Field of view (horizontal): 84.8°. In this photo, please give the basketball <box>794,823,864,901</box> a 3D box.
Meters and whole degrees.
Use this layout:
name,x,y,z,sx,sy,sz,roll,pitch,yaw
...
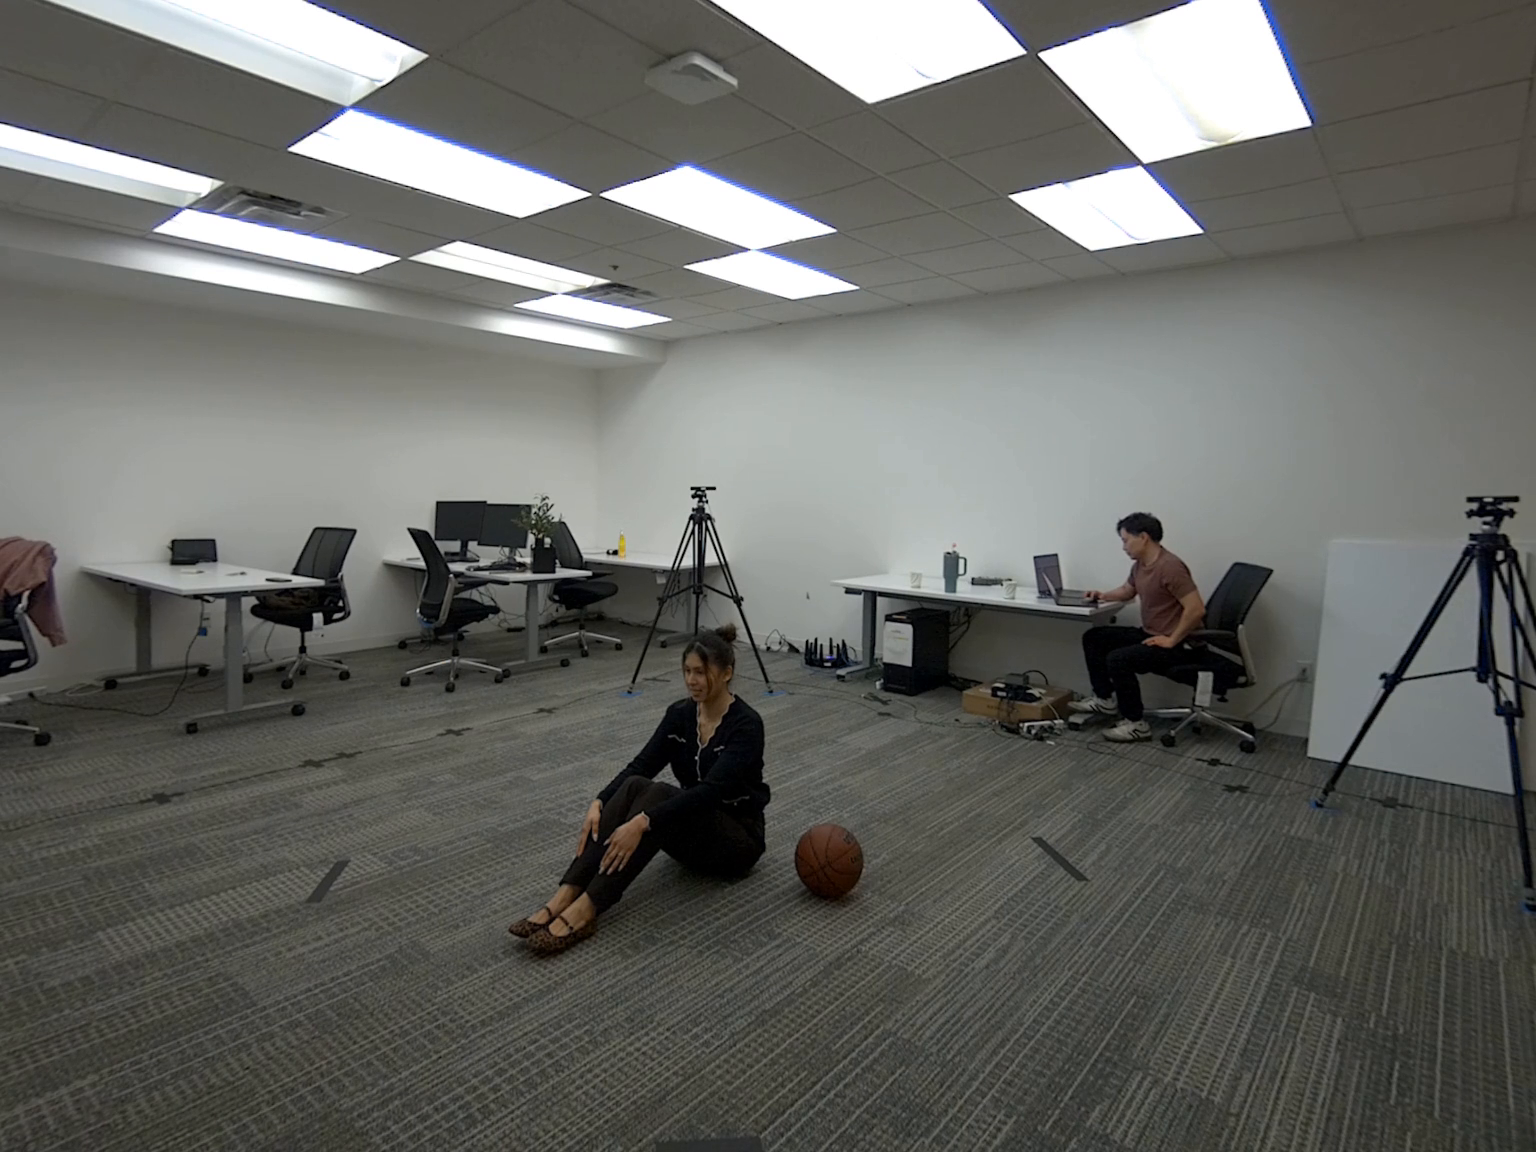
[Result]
name,x,y,z,sx,sy,sz,roll,pitch,yaw
basketball,0.202,0.977,2.924,0.235,0.235,0.237,1,4,-2
